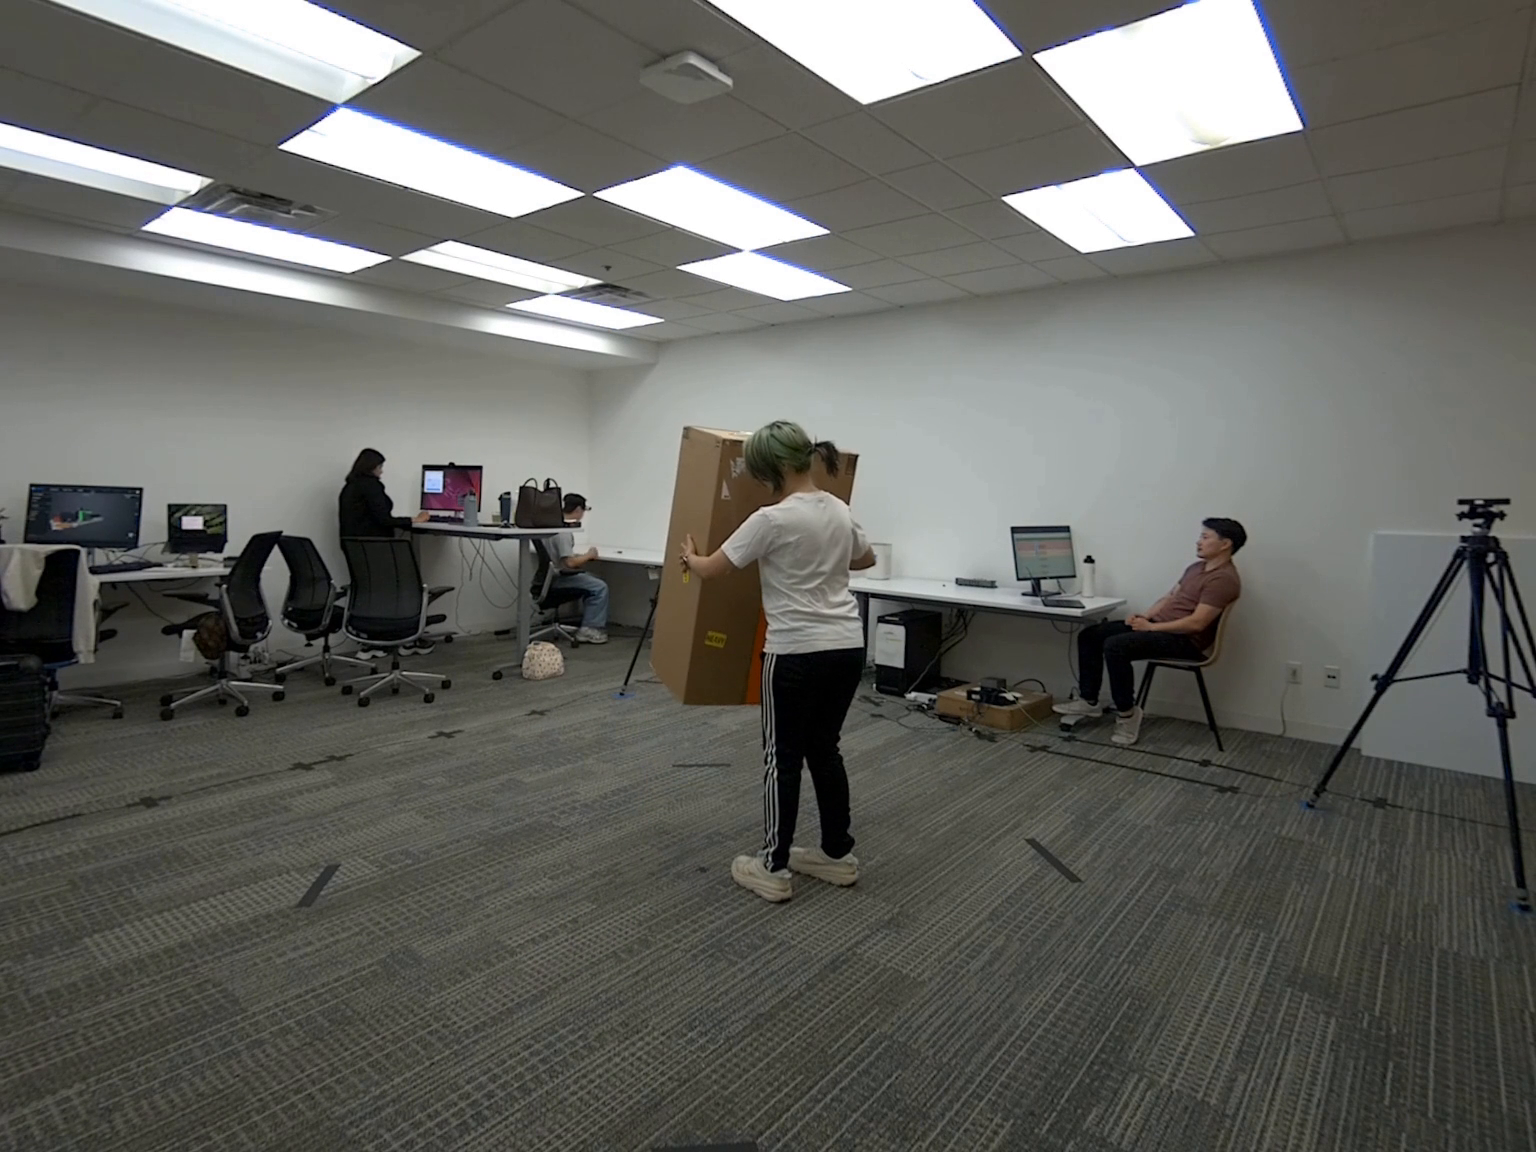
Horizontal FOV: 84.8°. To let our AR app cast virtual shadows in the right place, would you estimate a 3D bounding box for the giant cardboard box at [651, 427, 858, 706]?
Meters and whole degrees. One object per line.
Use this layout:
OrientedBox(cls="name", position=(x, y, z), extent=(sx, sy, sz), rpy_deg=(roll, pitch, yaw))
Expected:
OrientedBox(cls="giant cardboard box", position=(-0.088, -0.036, 3.420), extent=(0.569, 1.018, 0.462), rpy_deg=(3, 12, -27))
